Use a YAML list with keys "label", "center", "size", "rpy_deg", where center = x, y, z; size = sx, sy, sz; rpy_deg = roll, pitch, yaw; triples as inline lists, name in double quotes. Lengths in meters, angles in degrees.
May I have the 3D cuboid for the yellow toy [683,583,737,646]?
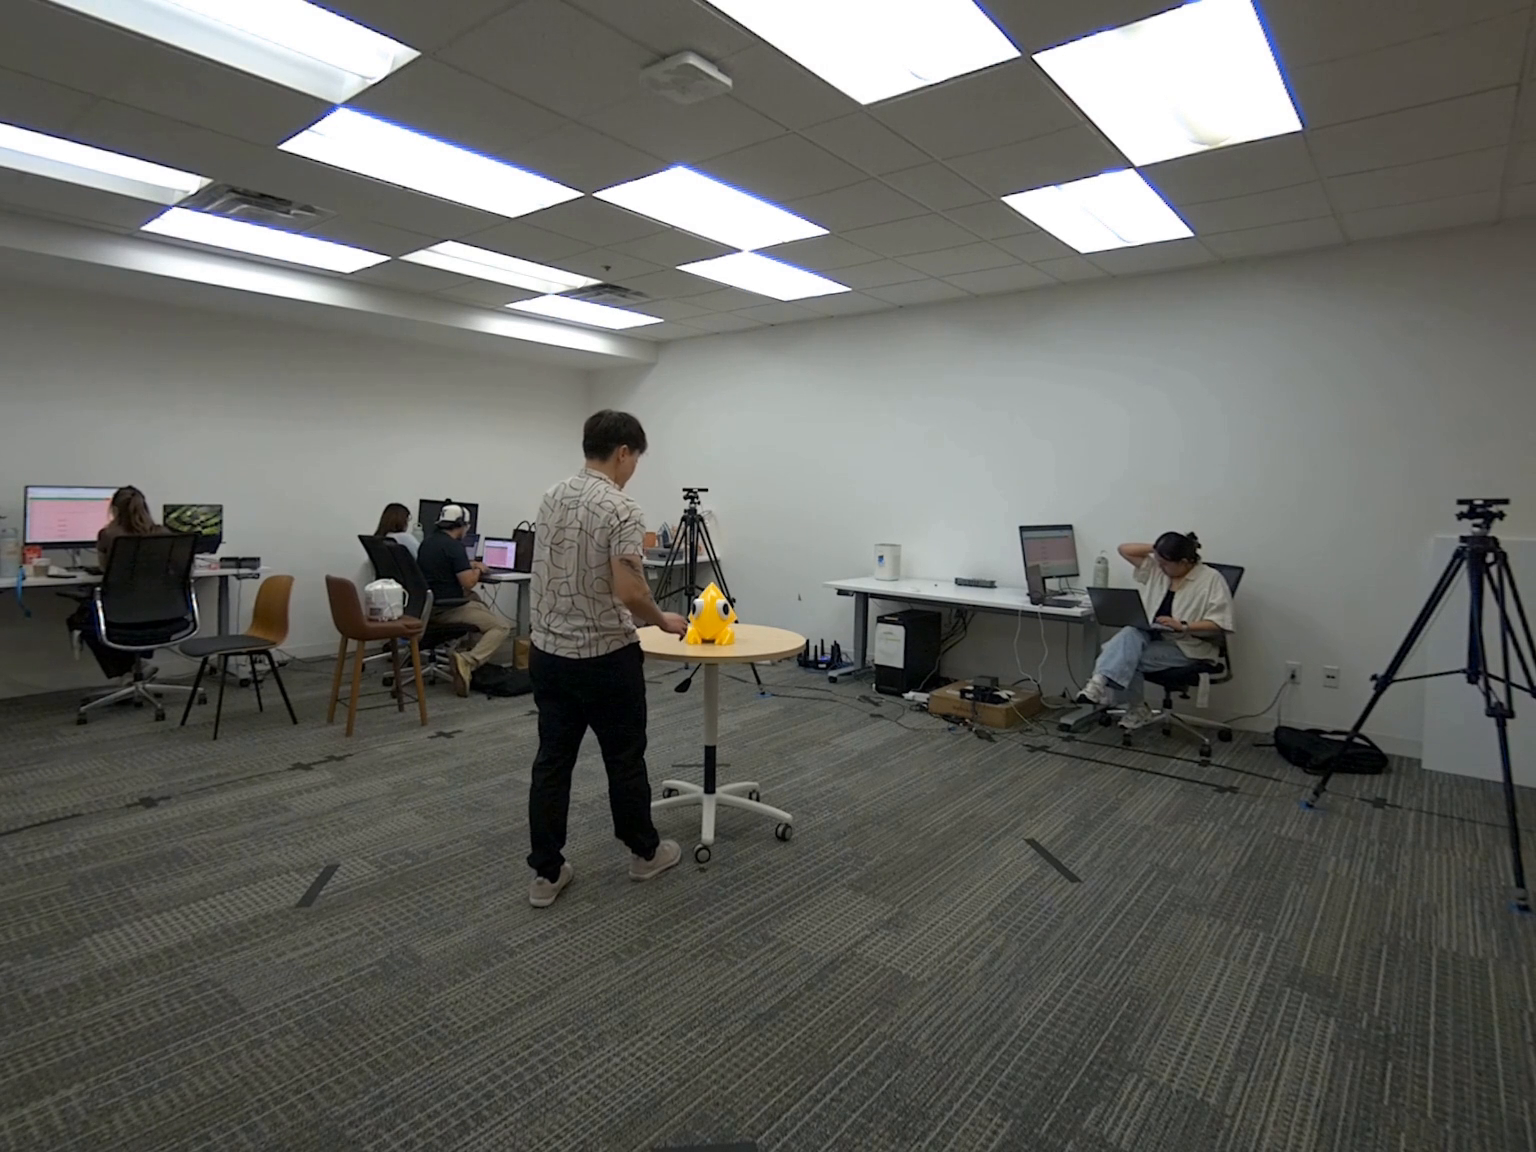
- label: "yellow toy"
  center: [-0.245, 0.144, 3.413]
  size: [0.206, 0.230, 0.193]
  rpy_deg: [1, 5, 4]
